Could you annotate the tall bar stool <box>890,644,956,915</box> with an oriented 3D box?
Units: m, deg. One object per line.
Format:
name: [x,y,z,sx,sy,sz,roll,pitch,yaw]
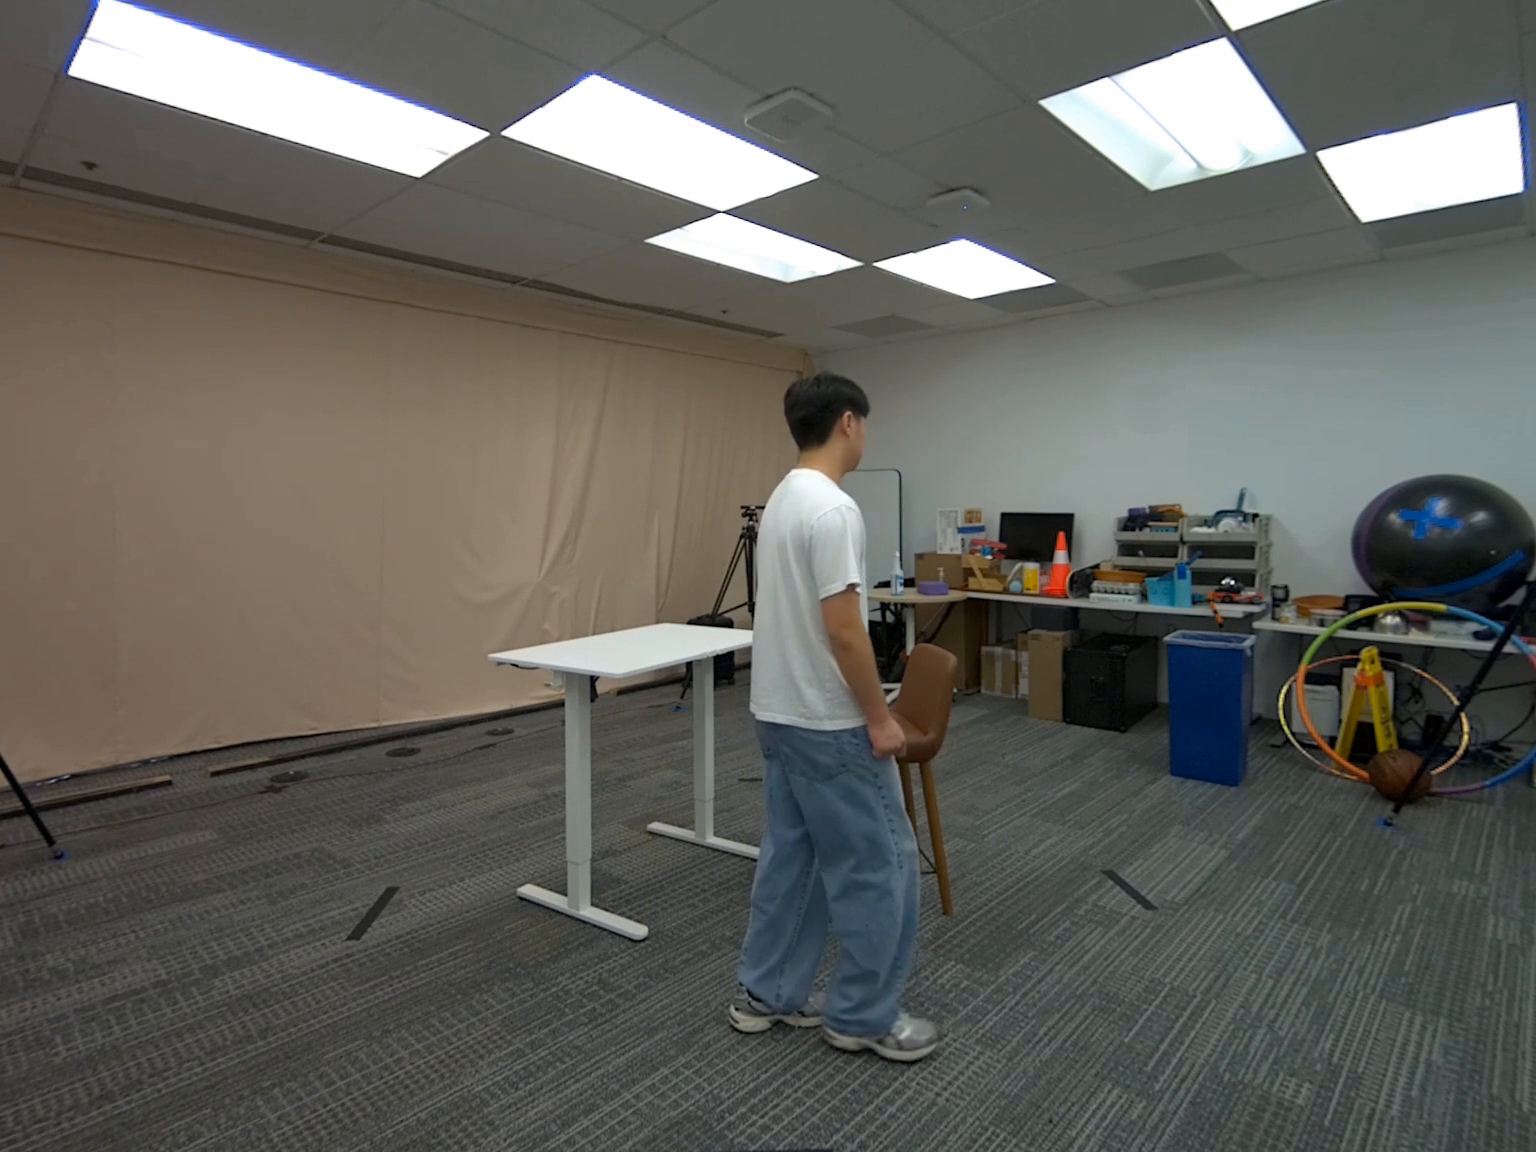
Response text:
tall bar stool: [0.396,0.708,2.996,0.464,0.888,0.460,1,3,-7]
